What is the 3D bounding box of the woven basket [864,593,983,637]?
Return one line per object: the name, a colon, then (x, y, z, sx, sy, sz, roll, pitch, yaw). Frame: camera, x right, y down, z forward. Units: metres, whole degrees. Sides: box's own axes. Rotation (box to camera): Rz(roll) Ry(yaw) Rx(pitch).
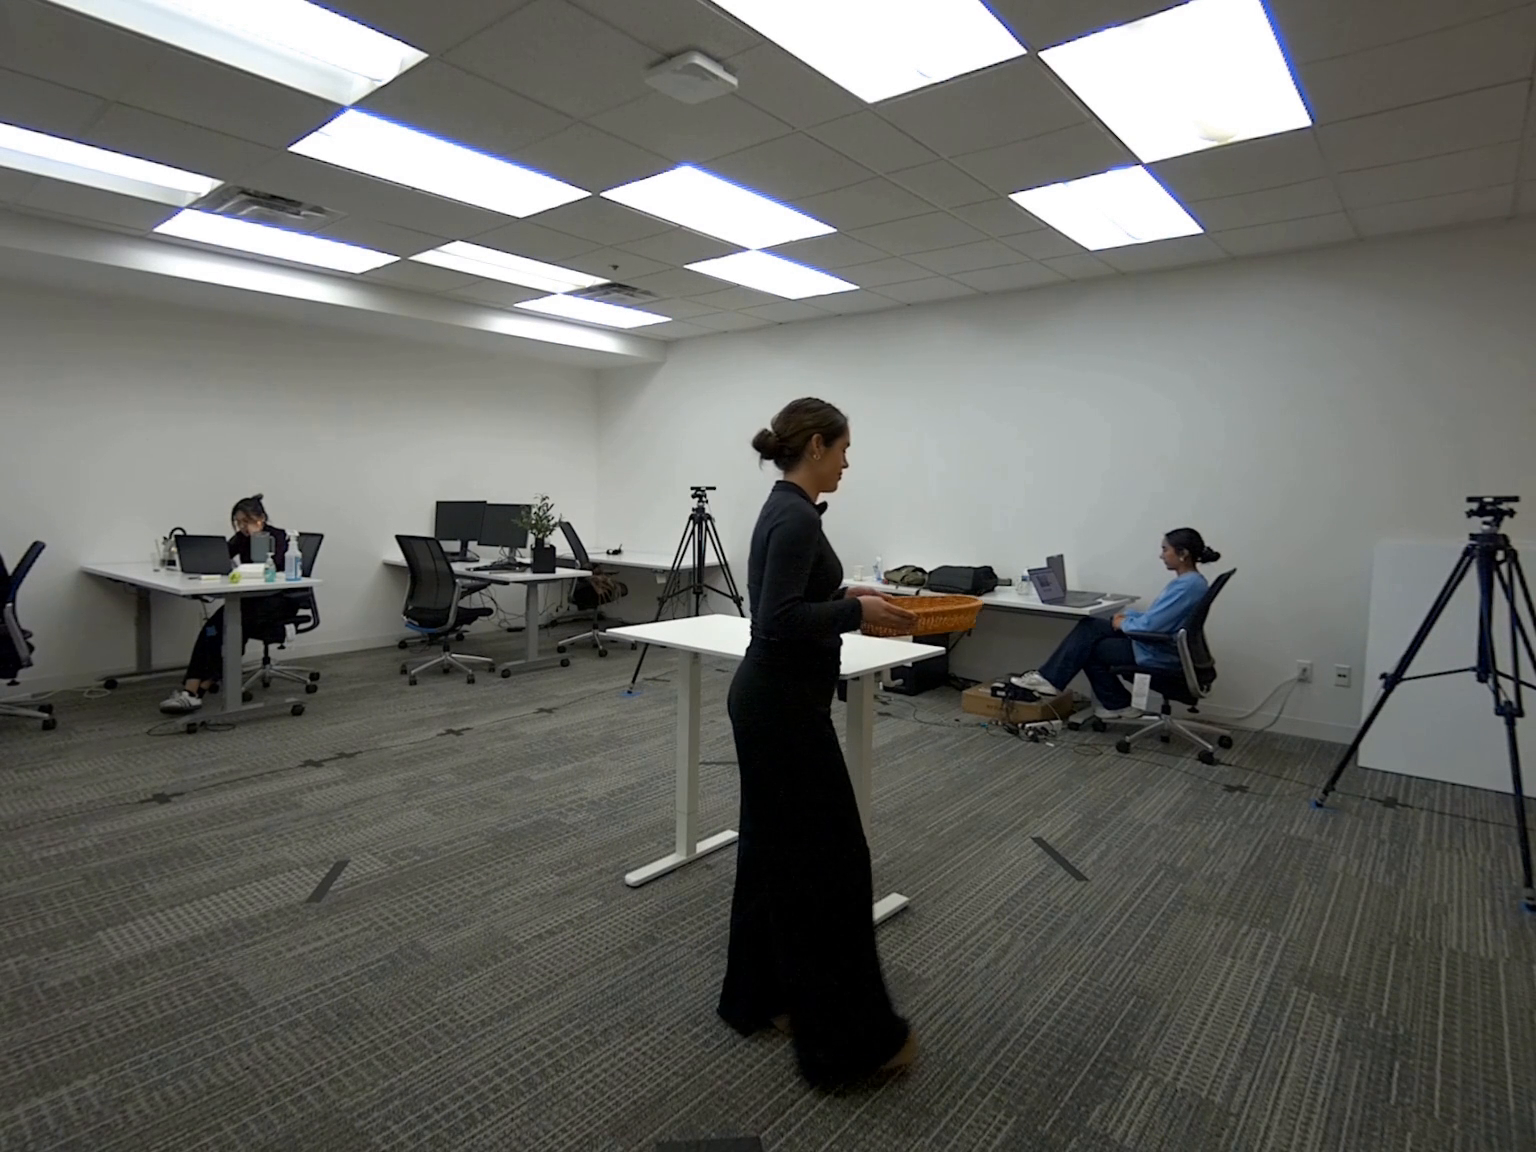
woven basket: (0.363, 0.111, 2.123, 0.347, 0.073, 0.256, -3, 5, -10)
